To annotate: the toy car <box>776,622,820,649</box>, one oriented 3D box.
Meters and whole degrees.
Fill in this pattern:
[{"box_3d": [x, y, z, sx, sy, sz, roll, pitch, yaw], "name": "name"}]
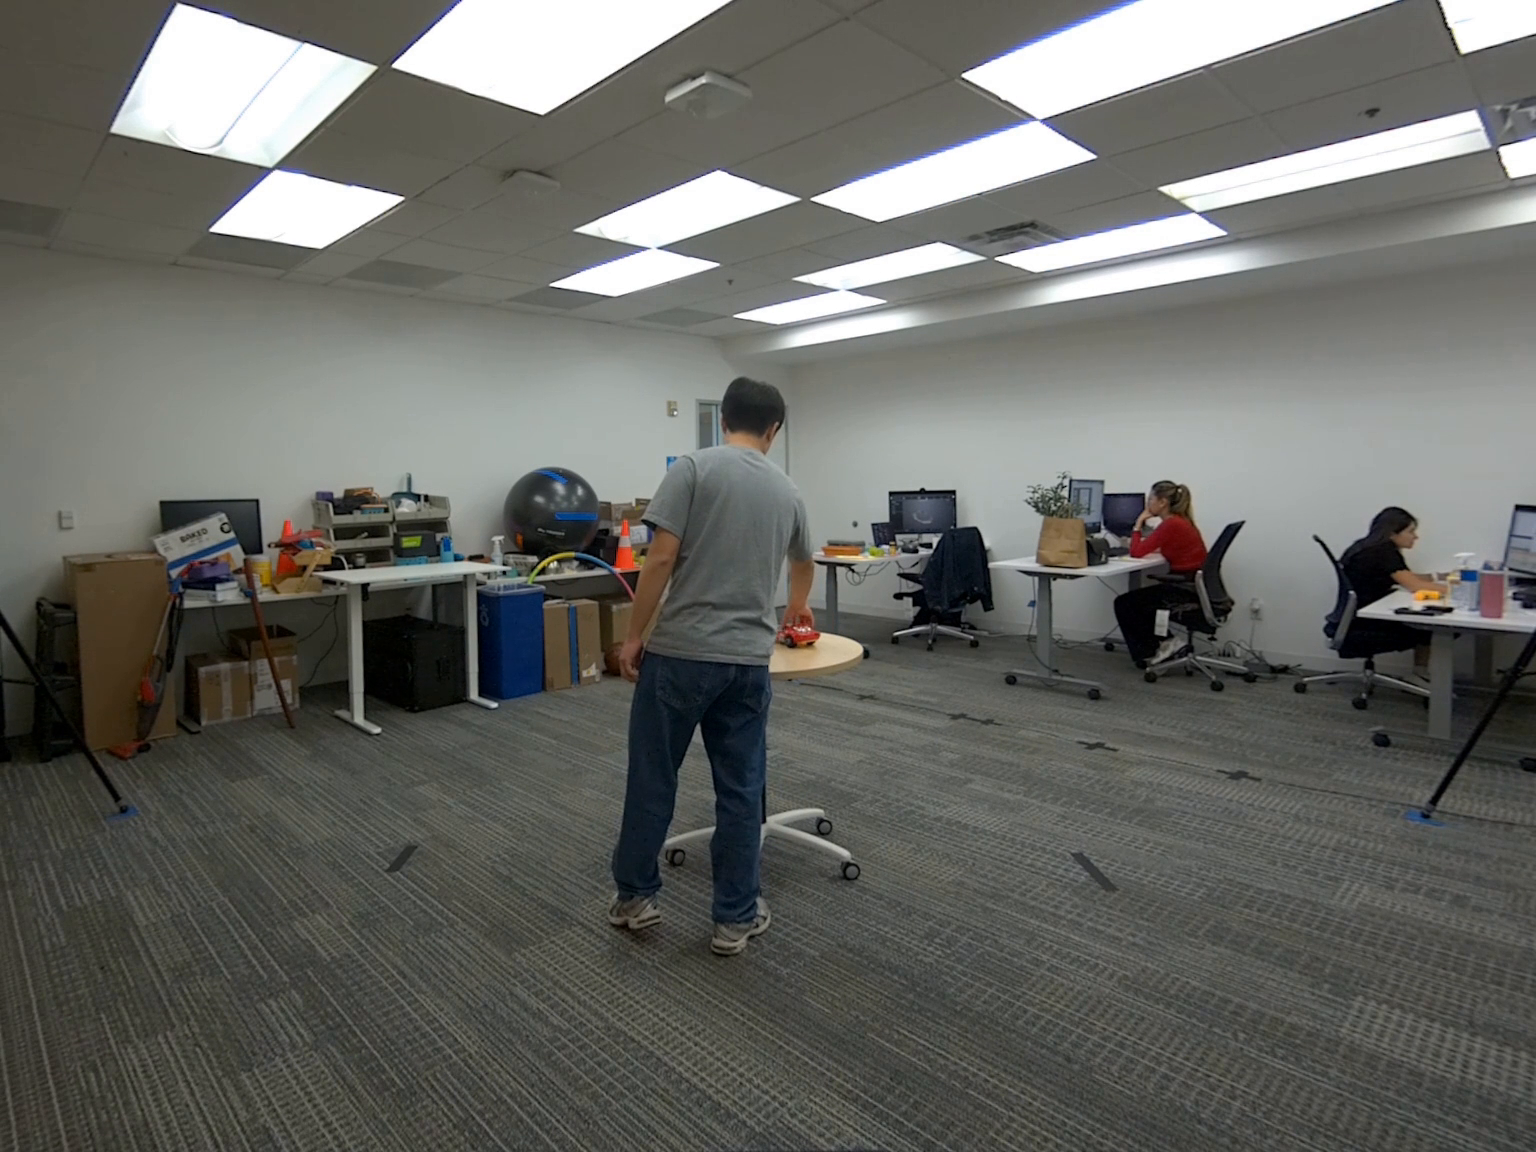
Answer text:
[{"box_3d": [0.089, 0.222, 3.158, 0.127, 0.083, 0.260, -4, -3, -37], "name": "toy car"}]
